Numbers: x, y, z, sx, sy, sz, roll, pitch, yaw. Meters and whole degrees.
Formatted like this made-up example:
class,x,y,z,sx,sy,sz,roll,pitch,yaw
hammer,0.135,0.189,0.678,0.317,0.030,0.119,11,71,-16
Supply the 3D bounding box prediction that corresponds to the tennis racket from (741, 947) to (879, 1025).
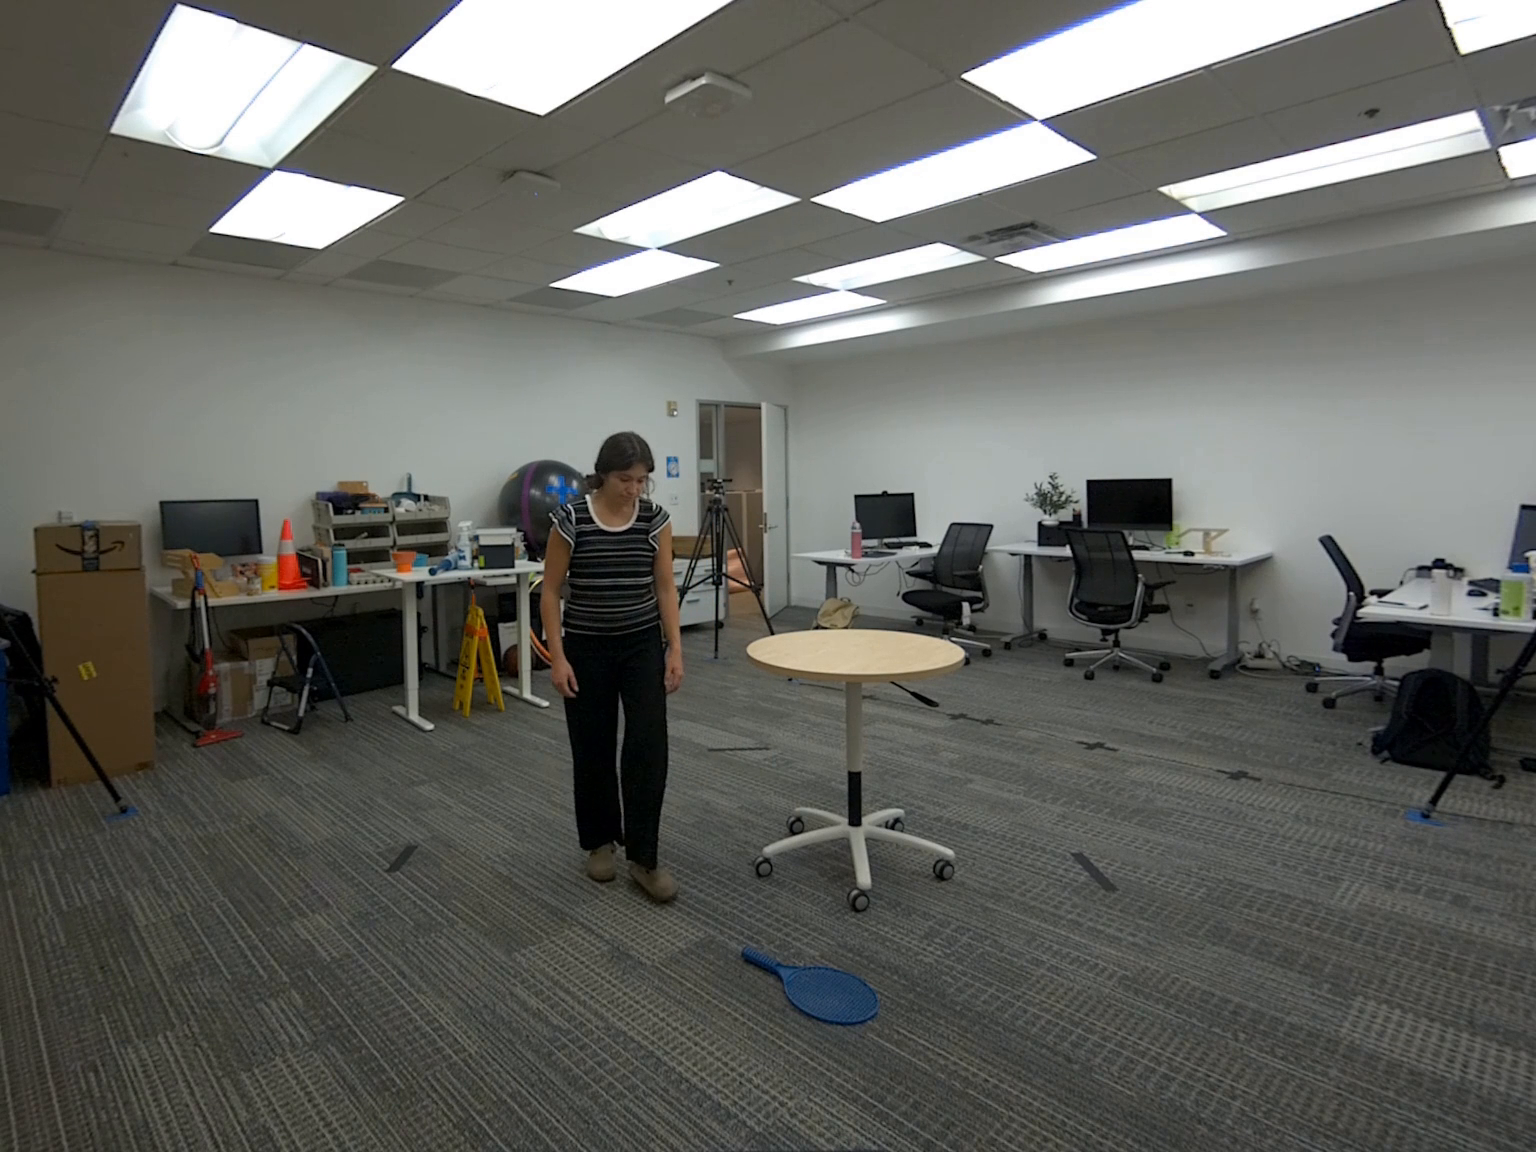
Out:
class,x,y,z,sx,sy,sz,roll,pitch,yaw
tennis racket,0.108,1.120,2.349,0.446,0.031,0.208,6,10,38
